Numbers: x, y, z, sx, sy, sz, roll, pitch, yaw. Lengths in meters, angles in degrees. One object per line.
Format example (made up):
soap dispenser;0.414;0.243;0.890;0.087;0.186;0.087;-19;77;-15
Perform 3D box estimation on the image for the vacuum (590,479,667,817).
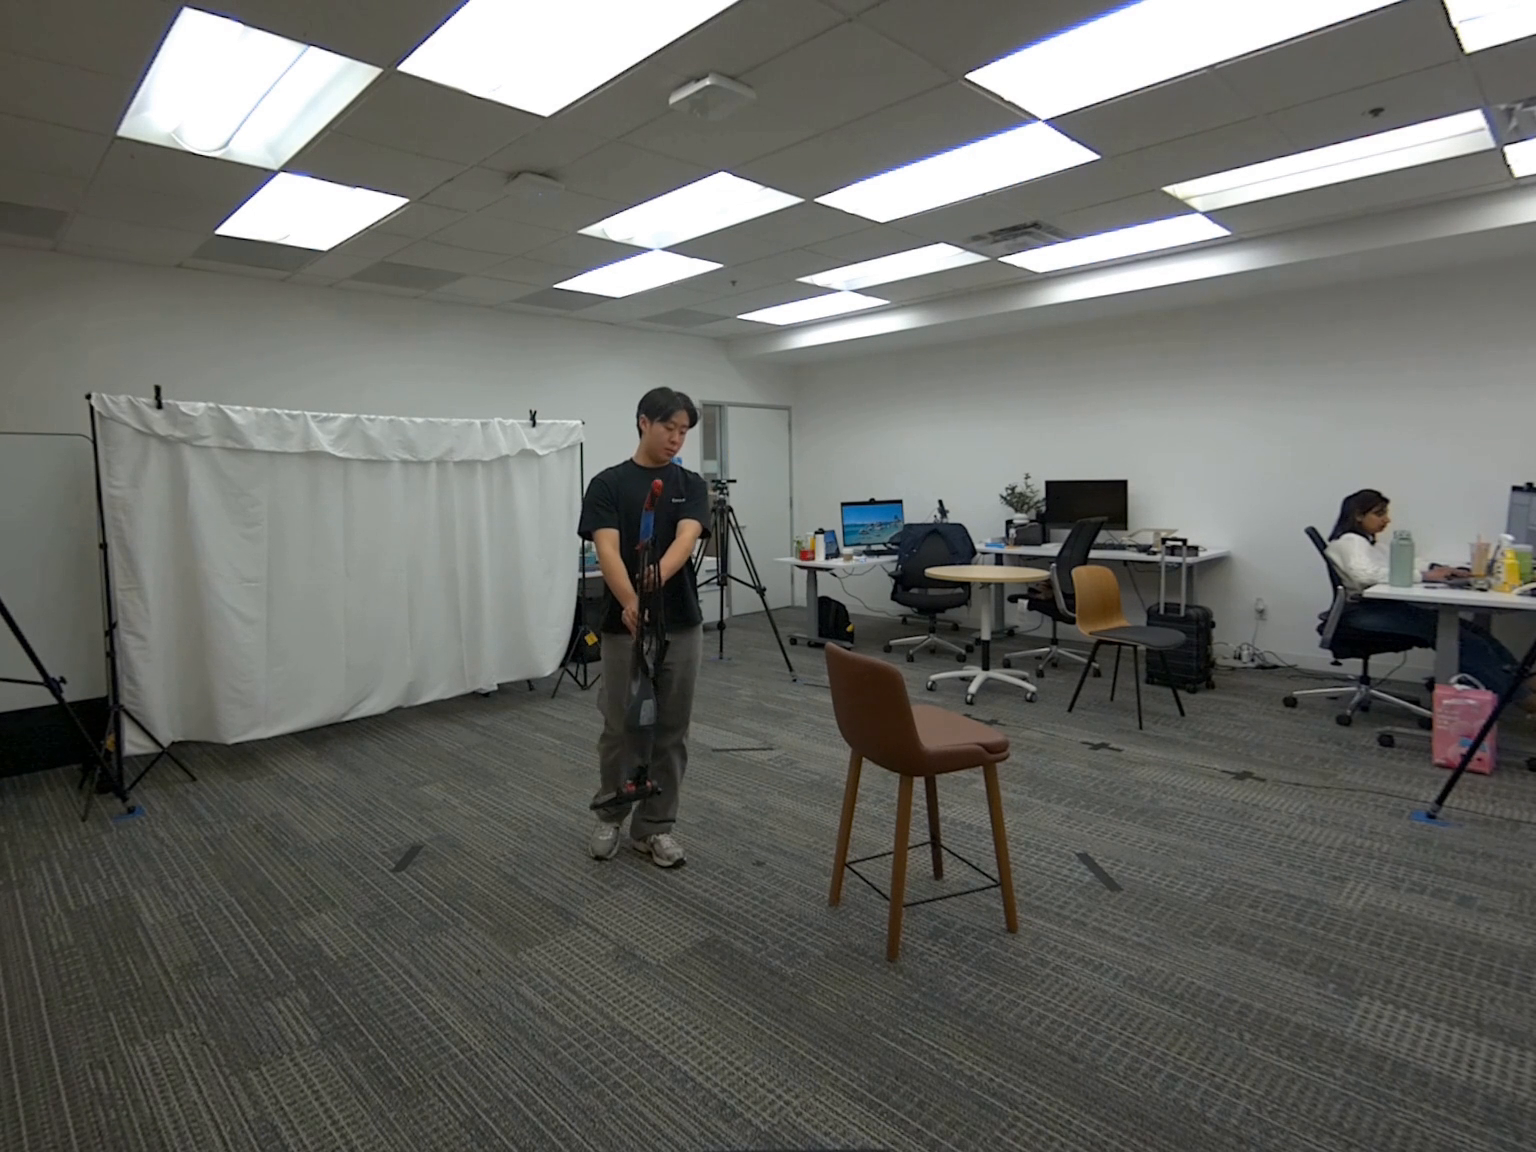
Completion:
vacuum;-0.404;0.221;2.739;0.246;1.040;0.149;0;12;-31
